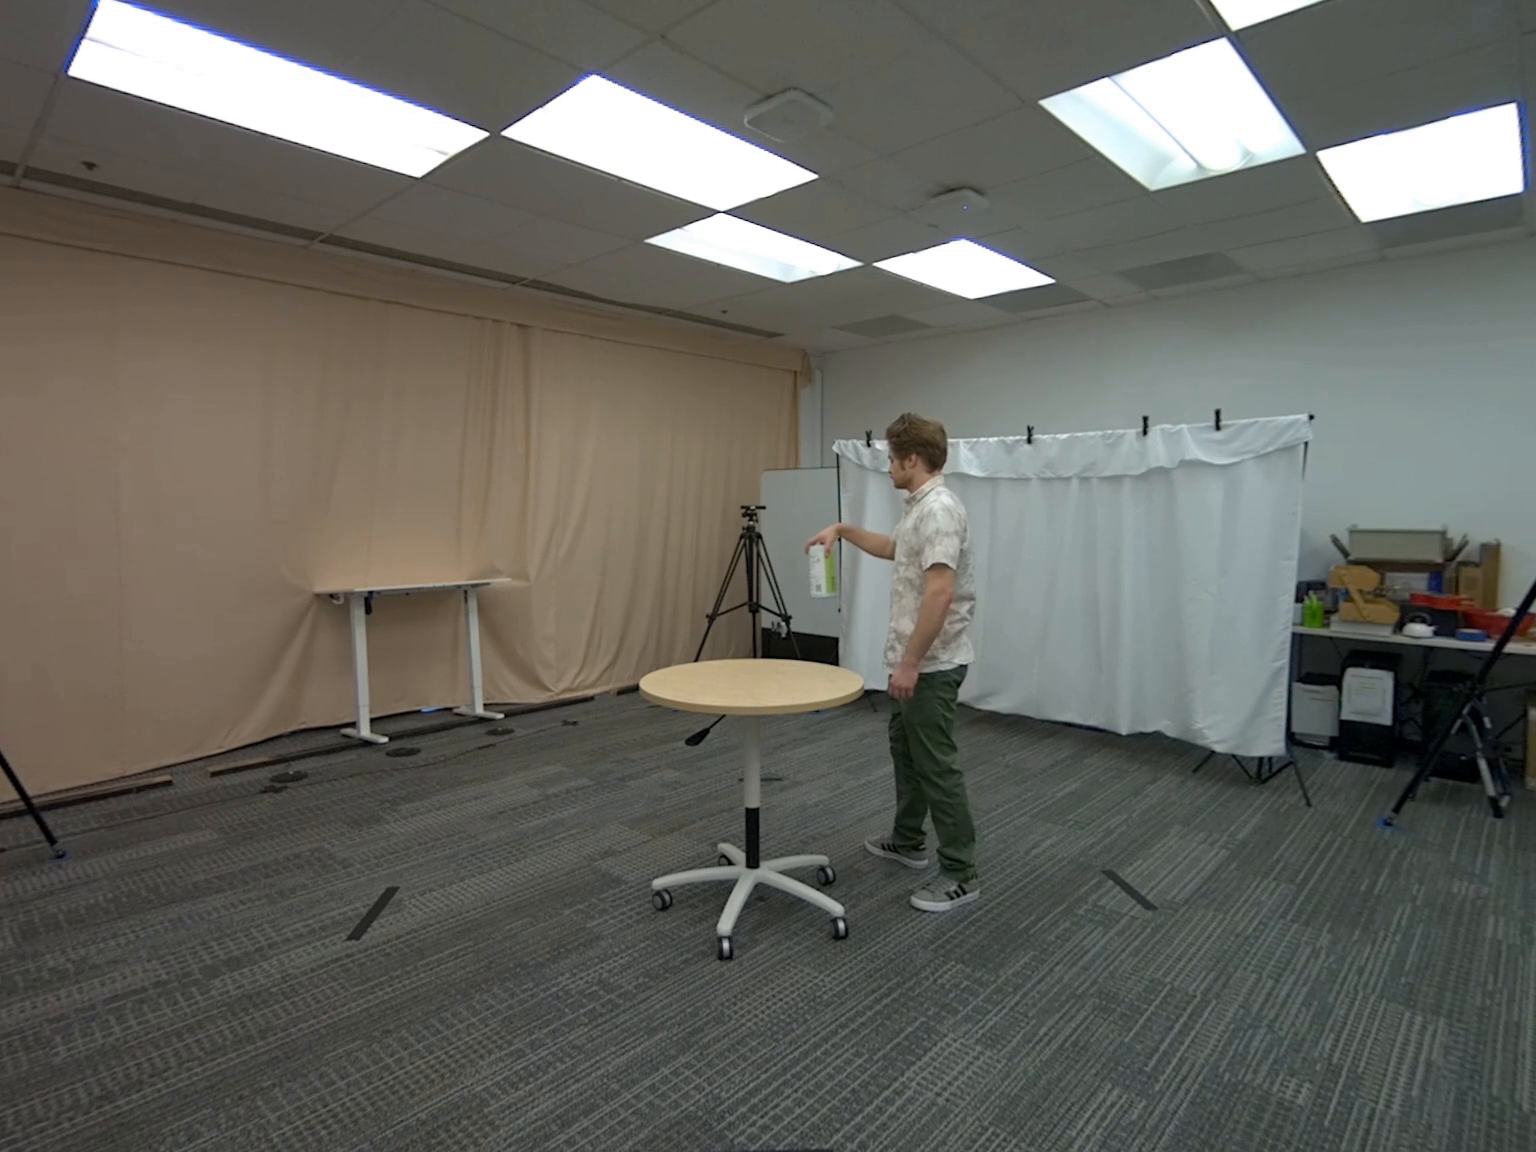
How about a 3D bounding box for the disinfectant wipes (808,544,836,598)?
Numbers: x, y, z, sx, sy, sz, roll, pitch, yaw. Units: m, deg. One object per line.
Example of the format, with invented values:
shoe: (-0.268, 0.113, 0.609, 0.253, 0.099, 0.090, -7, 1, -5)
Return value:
disinfectant wipes: (0.232, -0.015, 3.466, 0.118, 0.217, 0.118, -3, 0, -2)
